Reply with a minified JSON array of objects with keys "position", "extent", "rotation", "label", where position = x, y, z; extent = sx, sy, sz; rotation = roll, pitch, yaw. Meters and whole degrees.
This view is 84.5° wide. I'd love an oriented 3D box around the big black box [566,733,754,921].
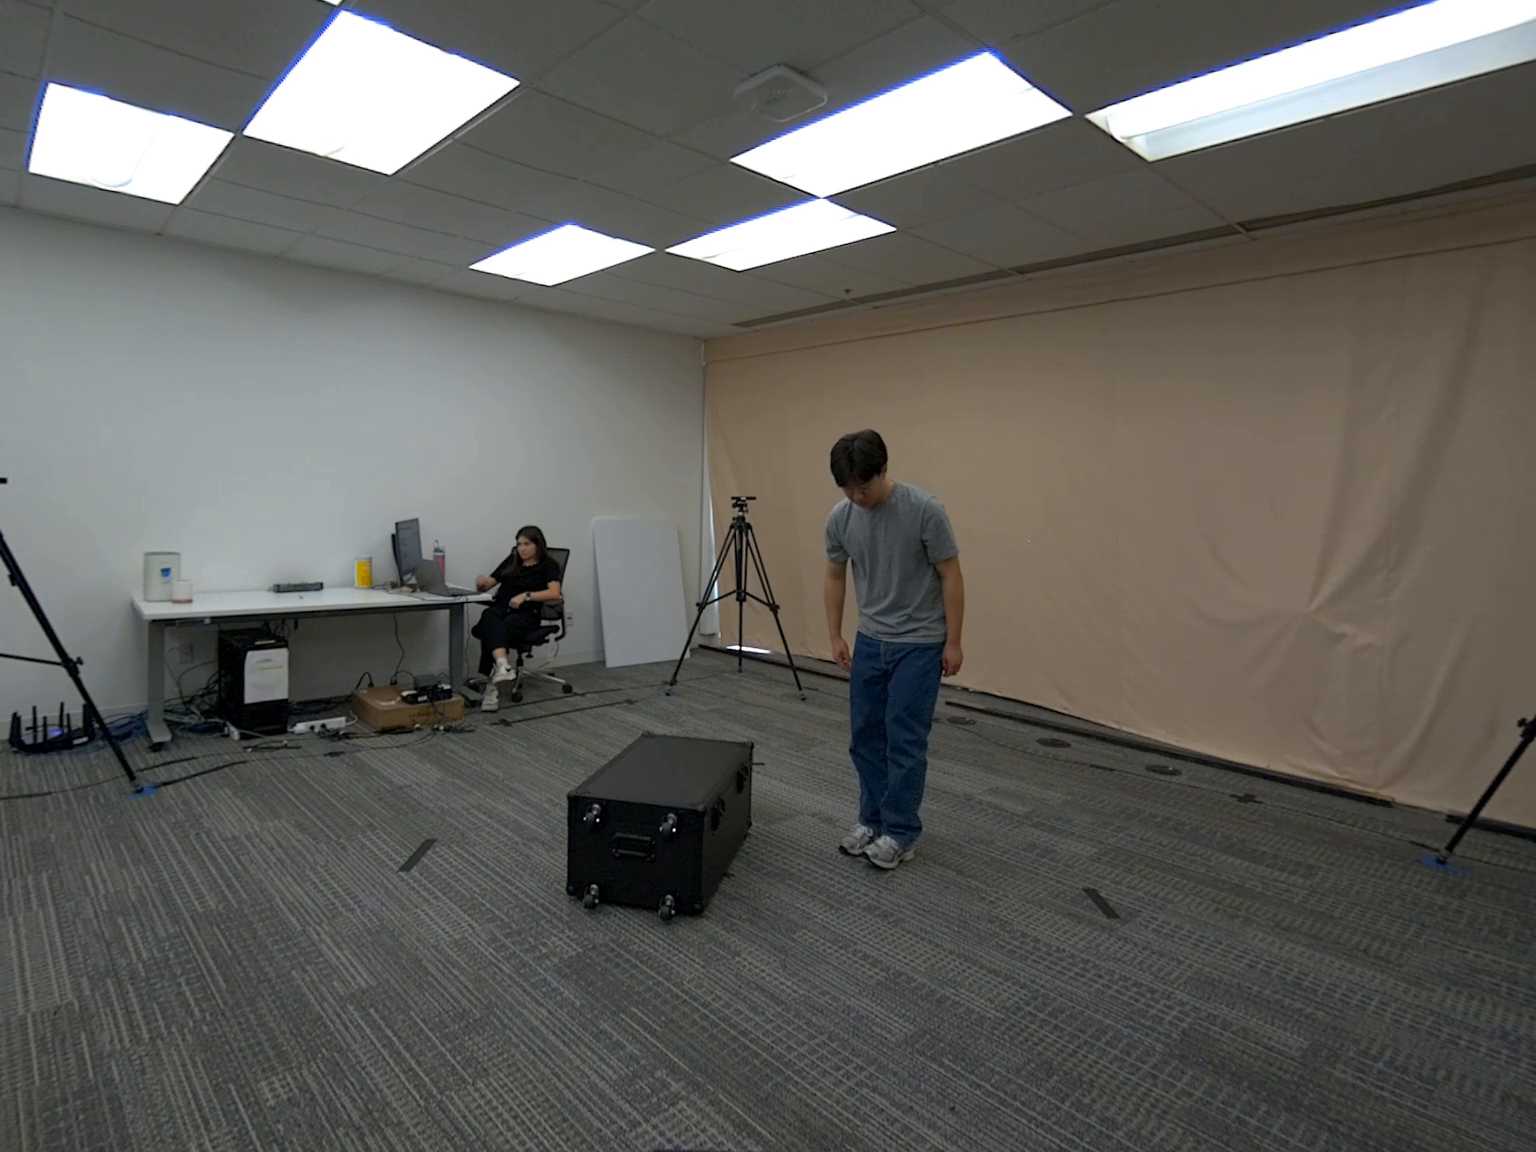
[{"position":[-0.389,0.904,3.150],"extent":[0.527,0.395,0.855],"rotation":[3,5,11],"label":"big black box"}]
